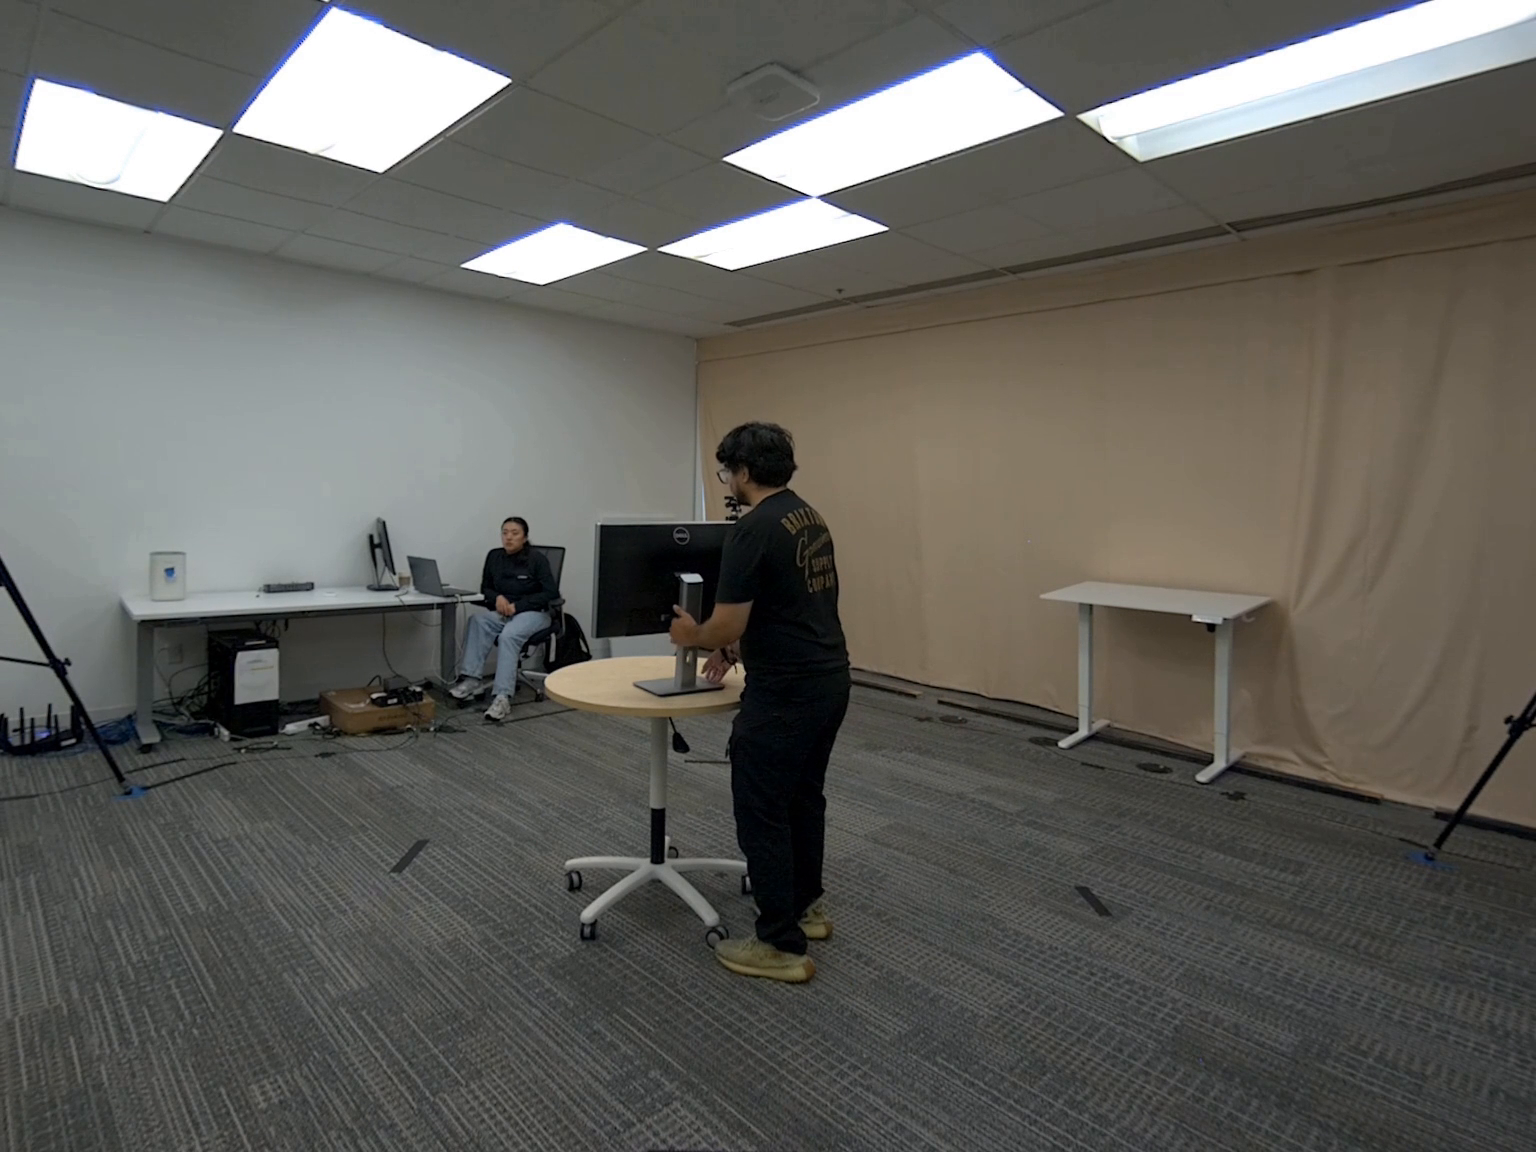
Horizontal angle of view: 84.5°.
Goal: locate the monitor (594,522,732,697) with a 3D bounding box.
[{"bbox_3d":[-0.271,0.102,2.683,0.553,0.552,0.215,-2,6,-34],"label":"monitor"}]
